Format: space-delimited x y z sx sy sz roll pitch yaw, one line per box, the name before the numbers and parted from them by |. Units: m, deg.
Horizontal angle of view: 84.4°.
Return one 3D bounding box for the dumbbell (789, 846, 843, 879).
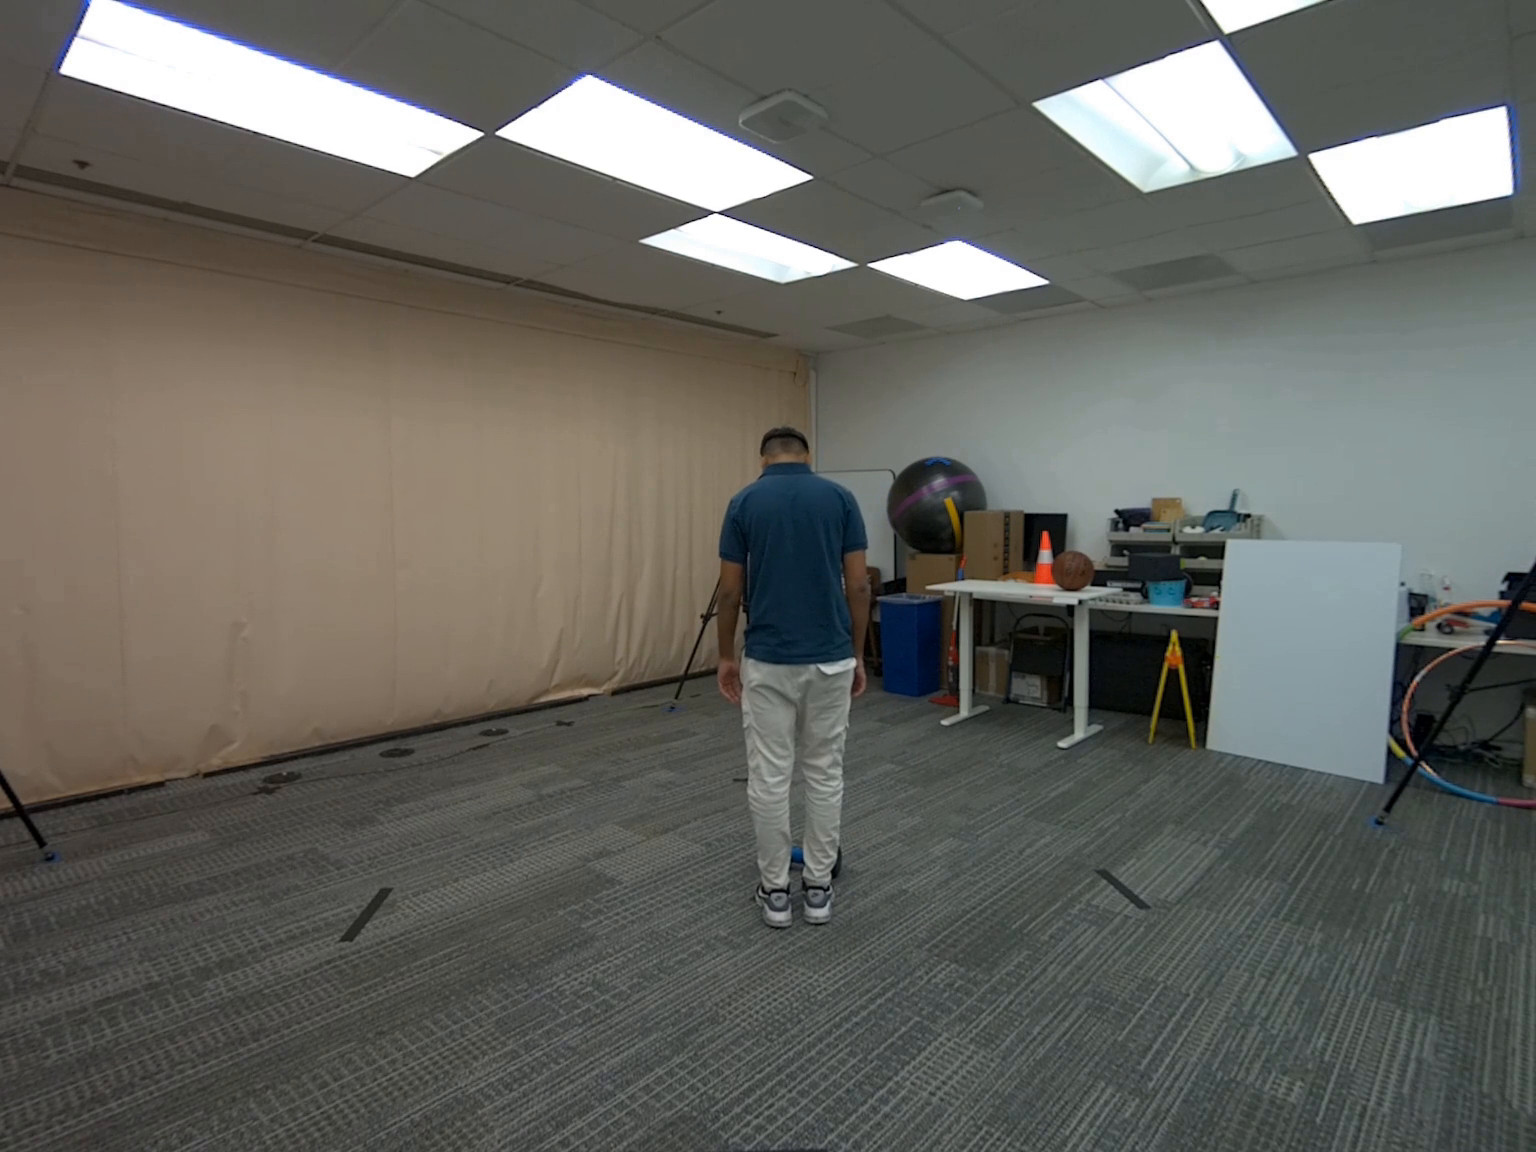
dumbbell | 0.137 1.070 3.214 0.300 0.124 0.105 1 -27 21
